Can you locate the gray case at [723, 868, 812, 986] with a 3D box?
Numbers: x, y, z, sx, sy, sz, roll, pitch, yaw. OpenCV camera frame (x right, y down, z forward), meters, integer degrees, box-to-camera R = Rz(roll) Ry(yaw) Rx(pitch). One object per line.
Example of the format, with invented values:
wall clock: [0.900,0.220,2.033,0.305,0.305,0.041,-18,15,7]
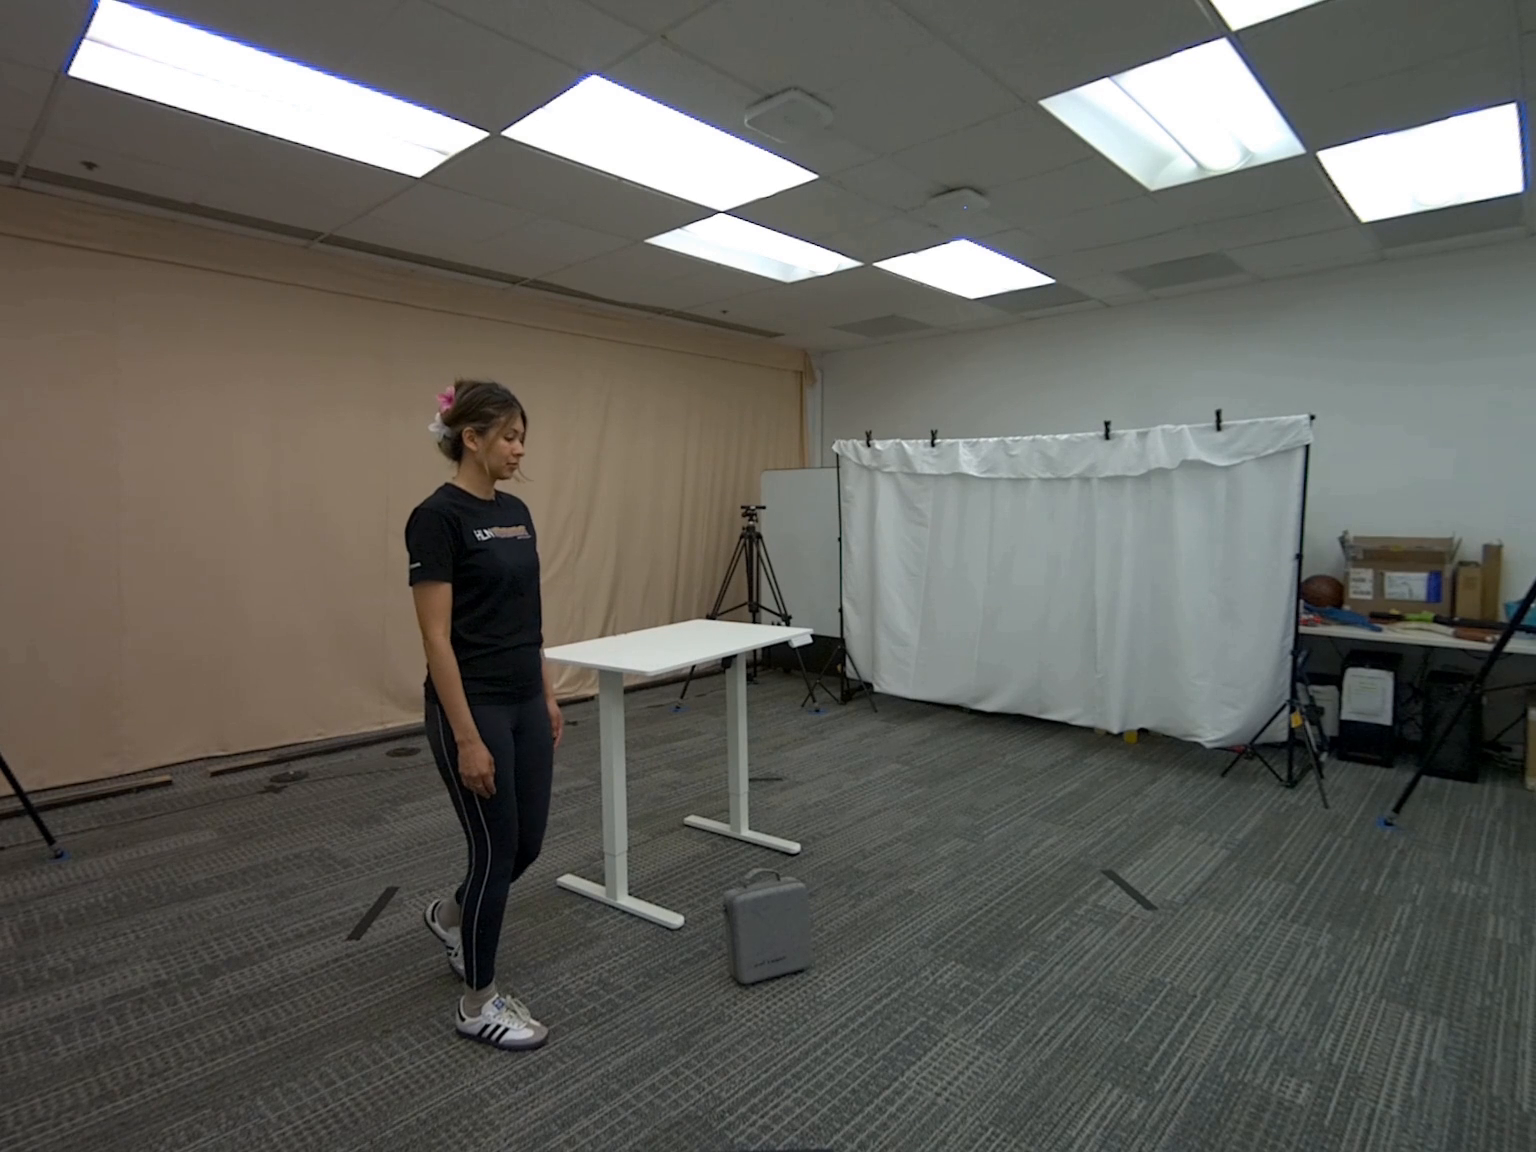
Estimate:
gray case: [0.004,1.047,2.518,0.251,0.261,0.106,-2,-6,-24]
